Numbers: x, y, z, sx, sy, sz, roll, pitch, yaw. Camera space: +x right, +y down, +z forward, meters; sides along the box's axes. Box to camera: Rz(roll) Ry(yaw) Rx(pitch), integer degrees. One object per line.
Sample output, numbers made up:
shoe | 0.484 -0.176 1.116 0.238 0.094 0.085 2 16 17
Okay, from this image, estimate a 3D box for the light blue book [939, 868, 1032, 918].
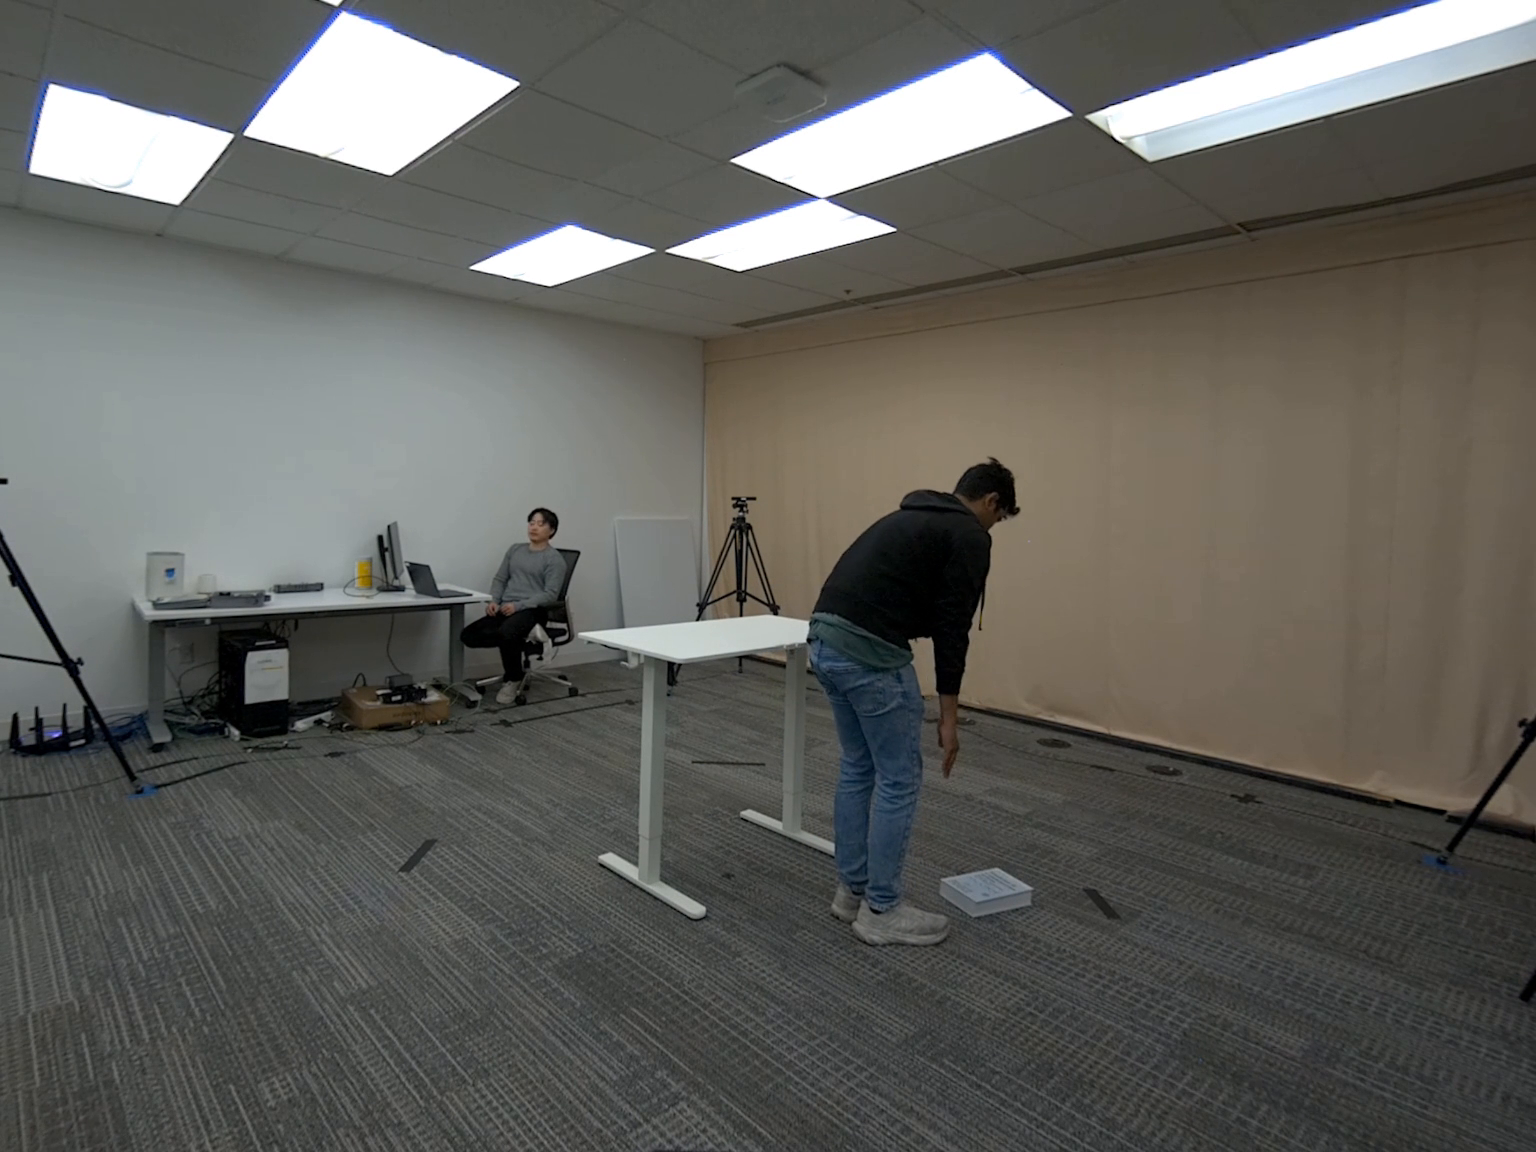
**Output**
light blue book | 0.760 1.111 2.967 0.256 0.059 0.195 -1 6 -26
